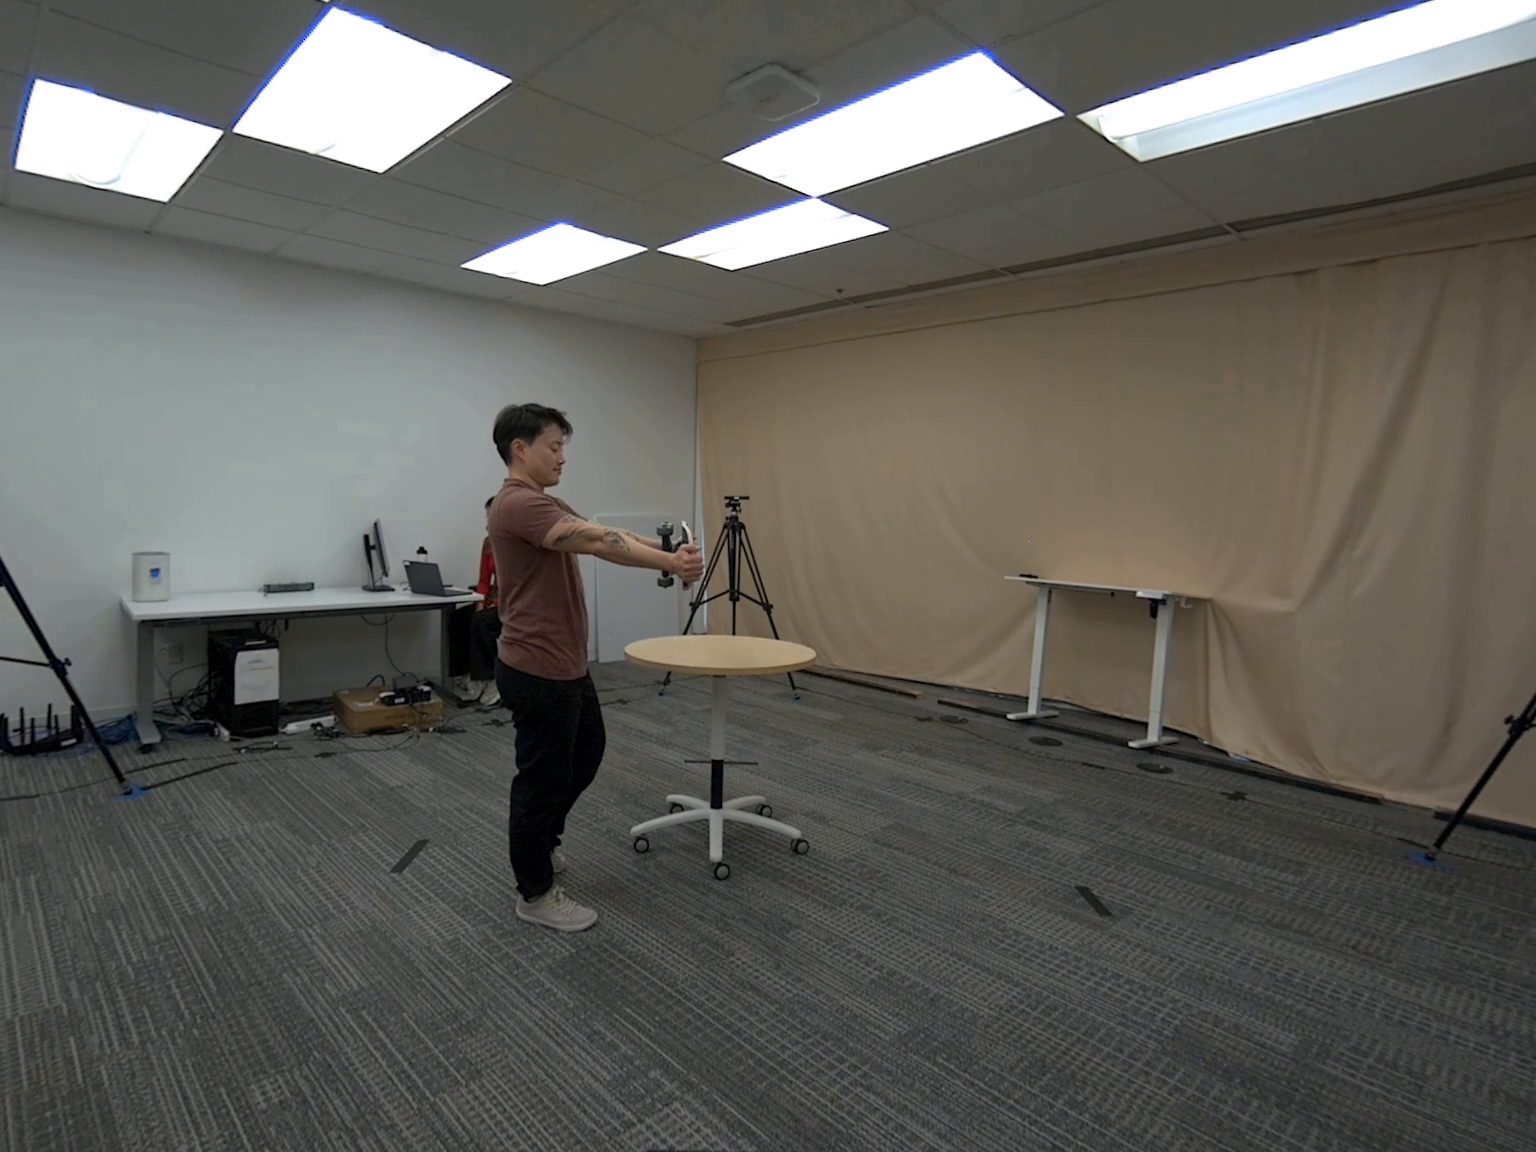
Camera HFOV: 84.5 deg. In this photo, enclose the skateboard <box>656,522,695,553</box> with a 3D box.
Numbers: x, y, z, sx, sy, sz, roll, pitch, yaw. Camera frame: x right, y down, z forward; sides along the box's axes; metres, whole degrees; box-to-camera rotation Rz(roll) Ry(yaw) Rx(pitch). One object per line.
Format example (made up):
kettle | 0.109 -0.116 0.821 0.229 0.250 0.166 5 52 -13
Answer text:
skateboard | -0.316 -0.073 2.720 0.109 0.193 0.793 2 4 -9
